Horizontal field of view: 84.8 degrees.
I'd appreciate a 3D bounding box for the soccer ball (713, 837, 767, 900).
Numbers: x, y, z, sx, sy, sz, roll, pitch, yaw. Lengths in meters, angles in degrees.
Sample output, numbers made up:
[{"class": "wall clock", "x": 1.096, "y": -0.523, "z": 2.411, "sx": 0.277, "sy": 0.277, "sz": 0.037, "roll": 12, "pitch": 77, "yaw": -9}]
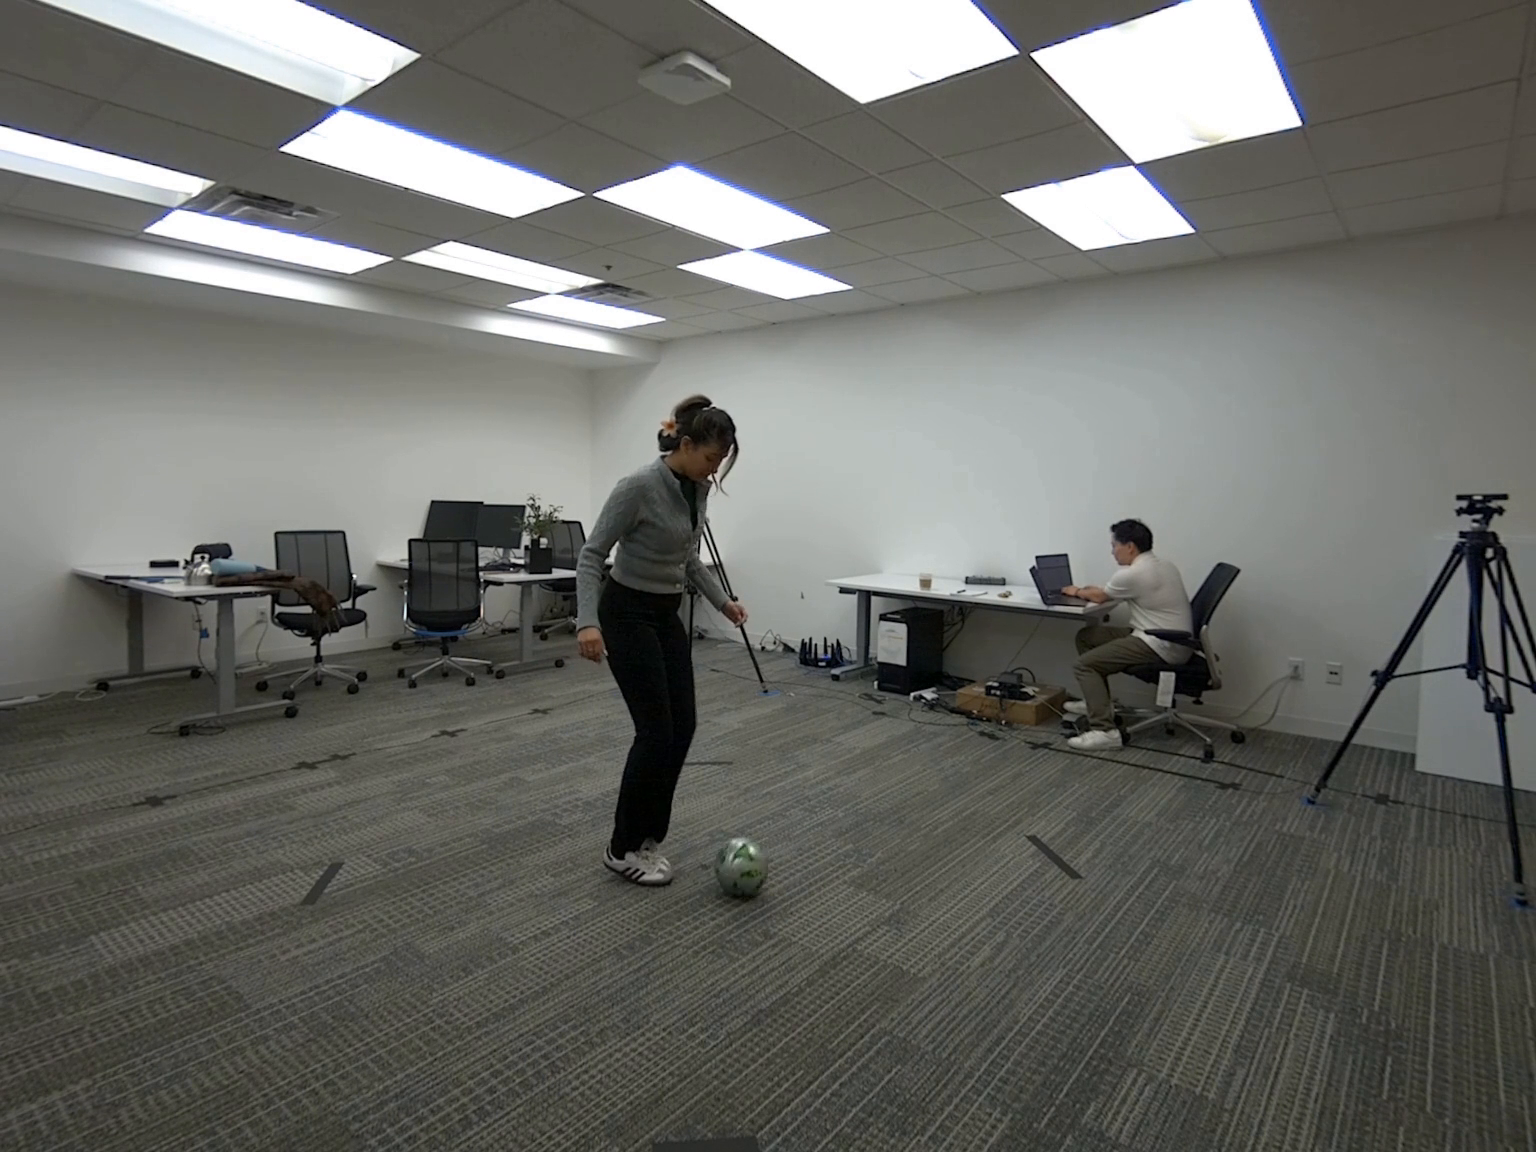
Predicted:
[{"class": "soccer ball", "x": -0.098, "y": 0.992, "z": 2.907, "sx": 0.187, "sy": 0.187, "sz": 0.188, "roll": 1, "pitch": 4, "yaw": -2}]
